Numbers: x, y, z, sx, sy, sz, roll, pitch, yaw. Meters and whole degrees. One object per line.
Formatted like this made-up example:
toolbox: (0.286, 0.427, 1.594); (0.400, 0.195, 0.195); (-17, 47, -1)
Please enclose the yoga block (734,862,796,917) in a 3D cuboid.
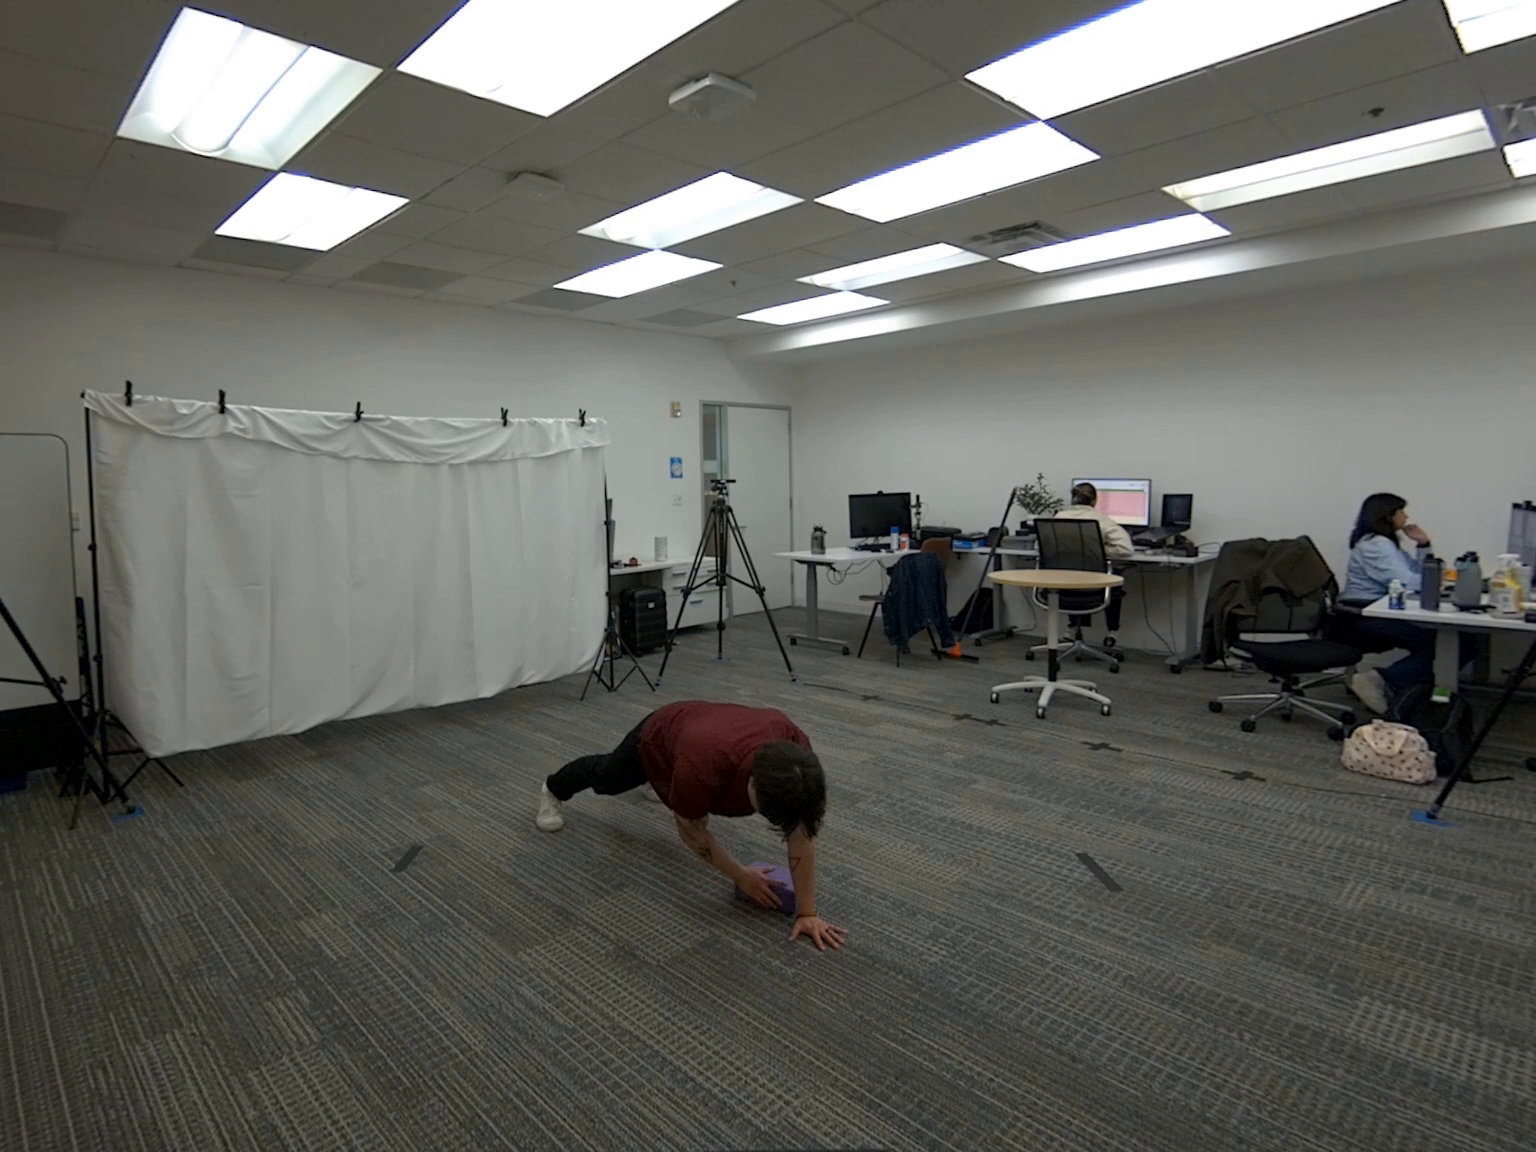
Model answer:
yoga block: (0.019, 1.032, 2.847); (0.236, 0.076, 0.145); (4, 8, 33)
